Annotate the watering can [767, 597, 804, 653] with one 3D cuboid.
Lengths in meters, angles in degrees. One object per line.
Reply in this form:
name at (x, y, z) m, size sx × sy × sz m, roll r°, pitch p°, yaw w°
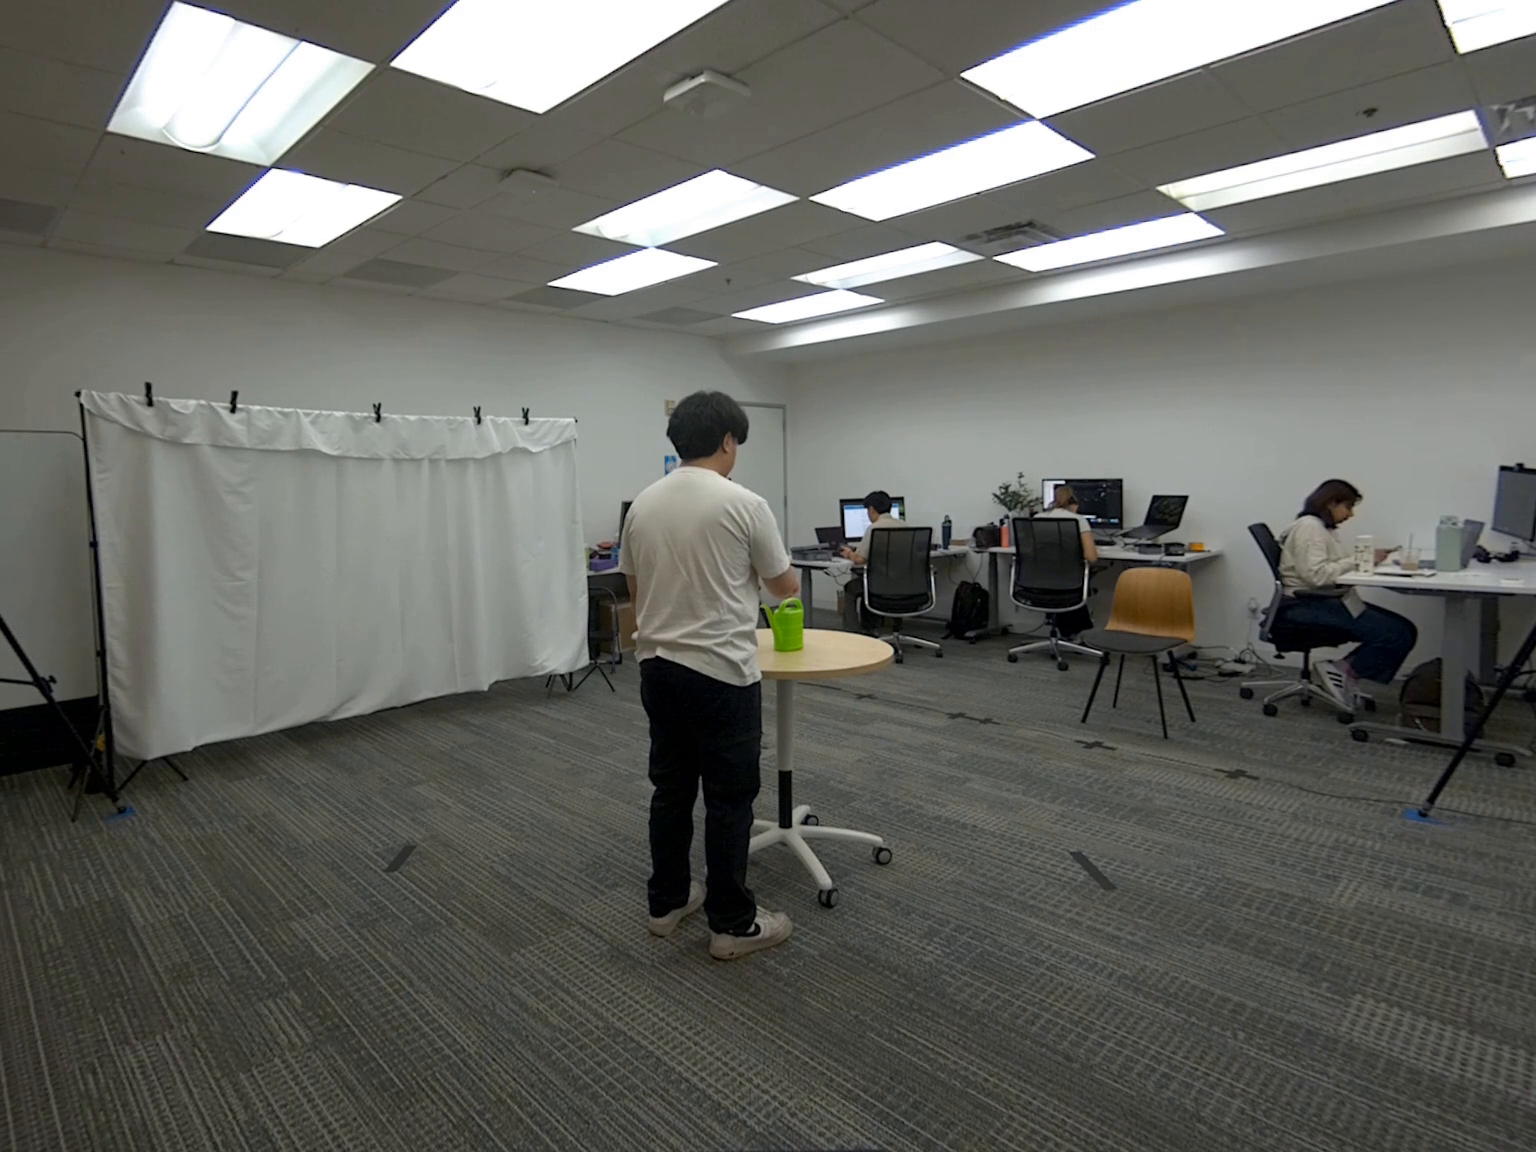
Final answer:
watering can at (0.055, 0.169, 2.990) m, size 0.101 × 0.176 × 0.271 m, roll 2°, pitch 4°, yaw 39°
